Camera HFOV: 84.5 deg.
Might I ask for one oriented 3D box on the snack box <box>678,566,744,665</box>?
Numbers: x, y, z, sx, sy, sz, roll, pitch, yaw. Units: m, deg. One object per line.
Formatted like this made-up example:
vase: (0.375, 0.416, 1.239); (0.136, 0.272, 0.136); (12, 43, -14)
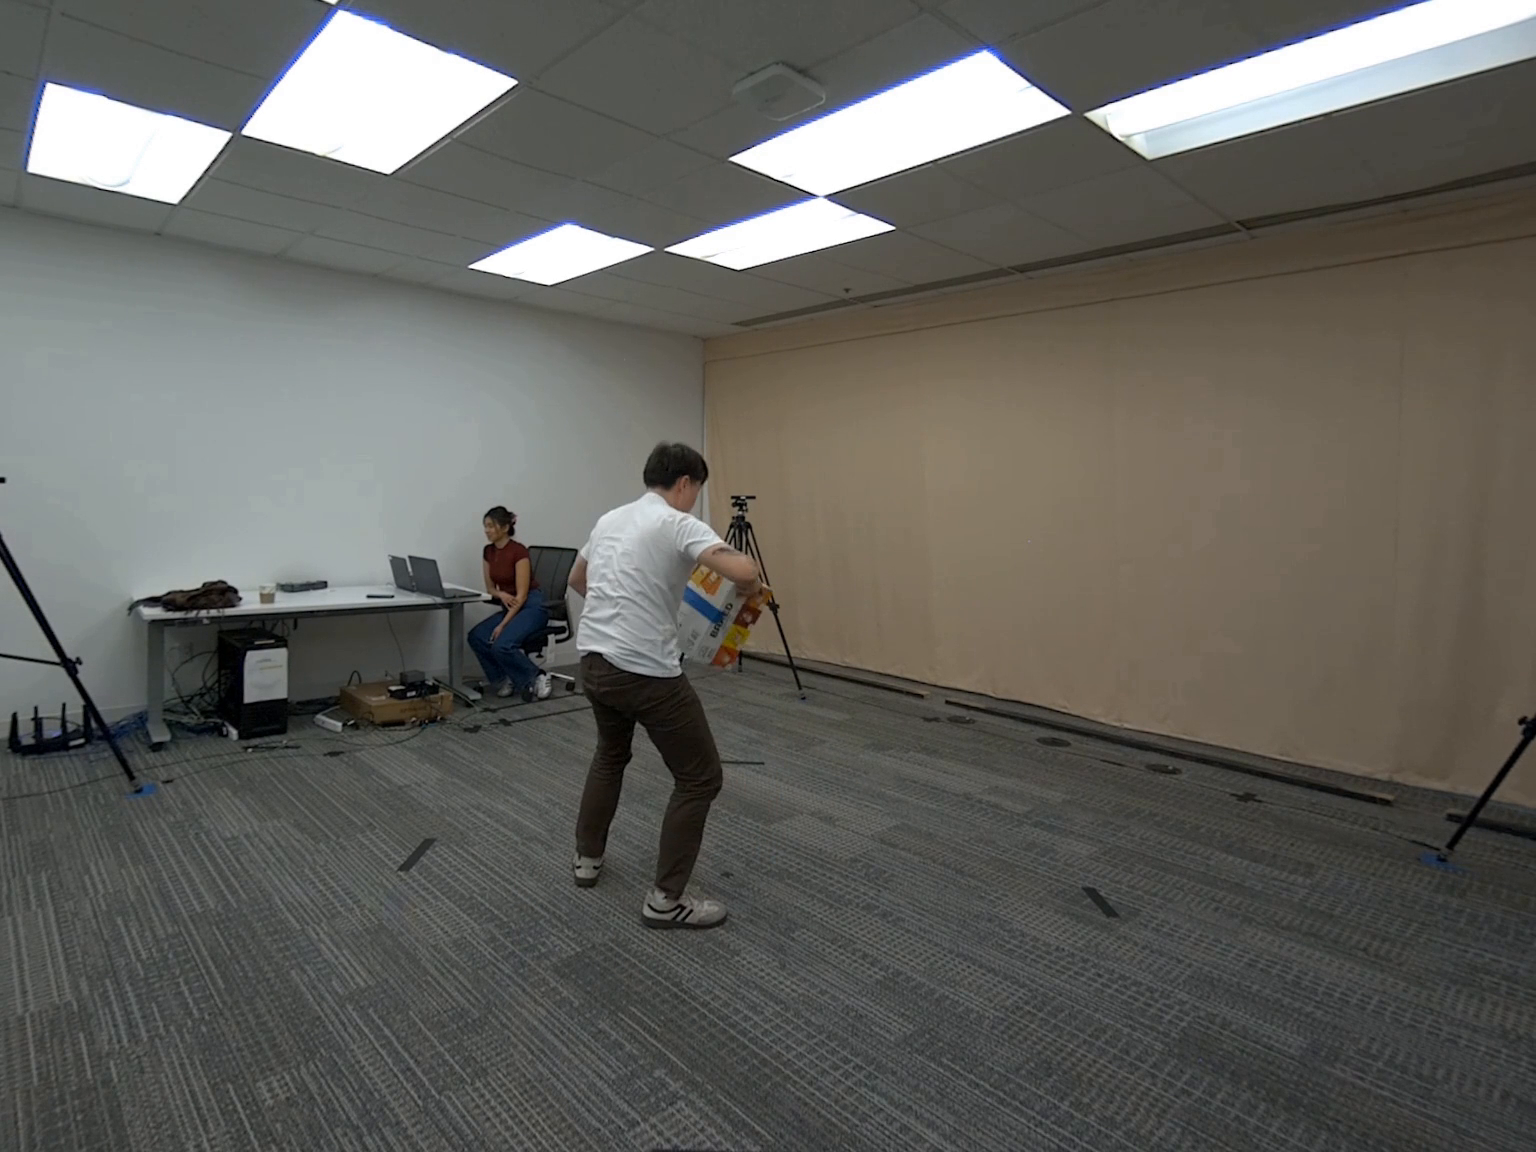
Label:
snack box: (-0.253, 0.101, 3.125); (0.199, 0.340, 0.418); (25, 7, -47)
